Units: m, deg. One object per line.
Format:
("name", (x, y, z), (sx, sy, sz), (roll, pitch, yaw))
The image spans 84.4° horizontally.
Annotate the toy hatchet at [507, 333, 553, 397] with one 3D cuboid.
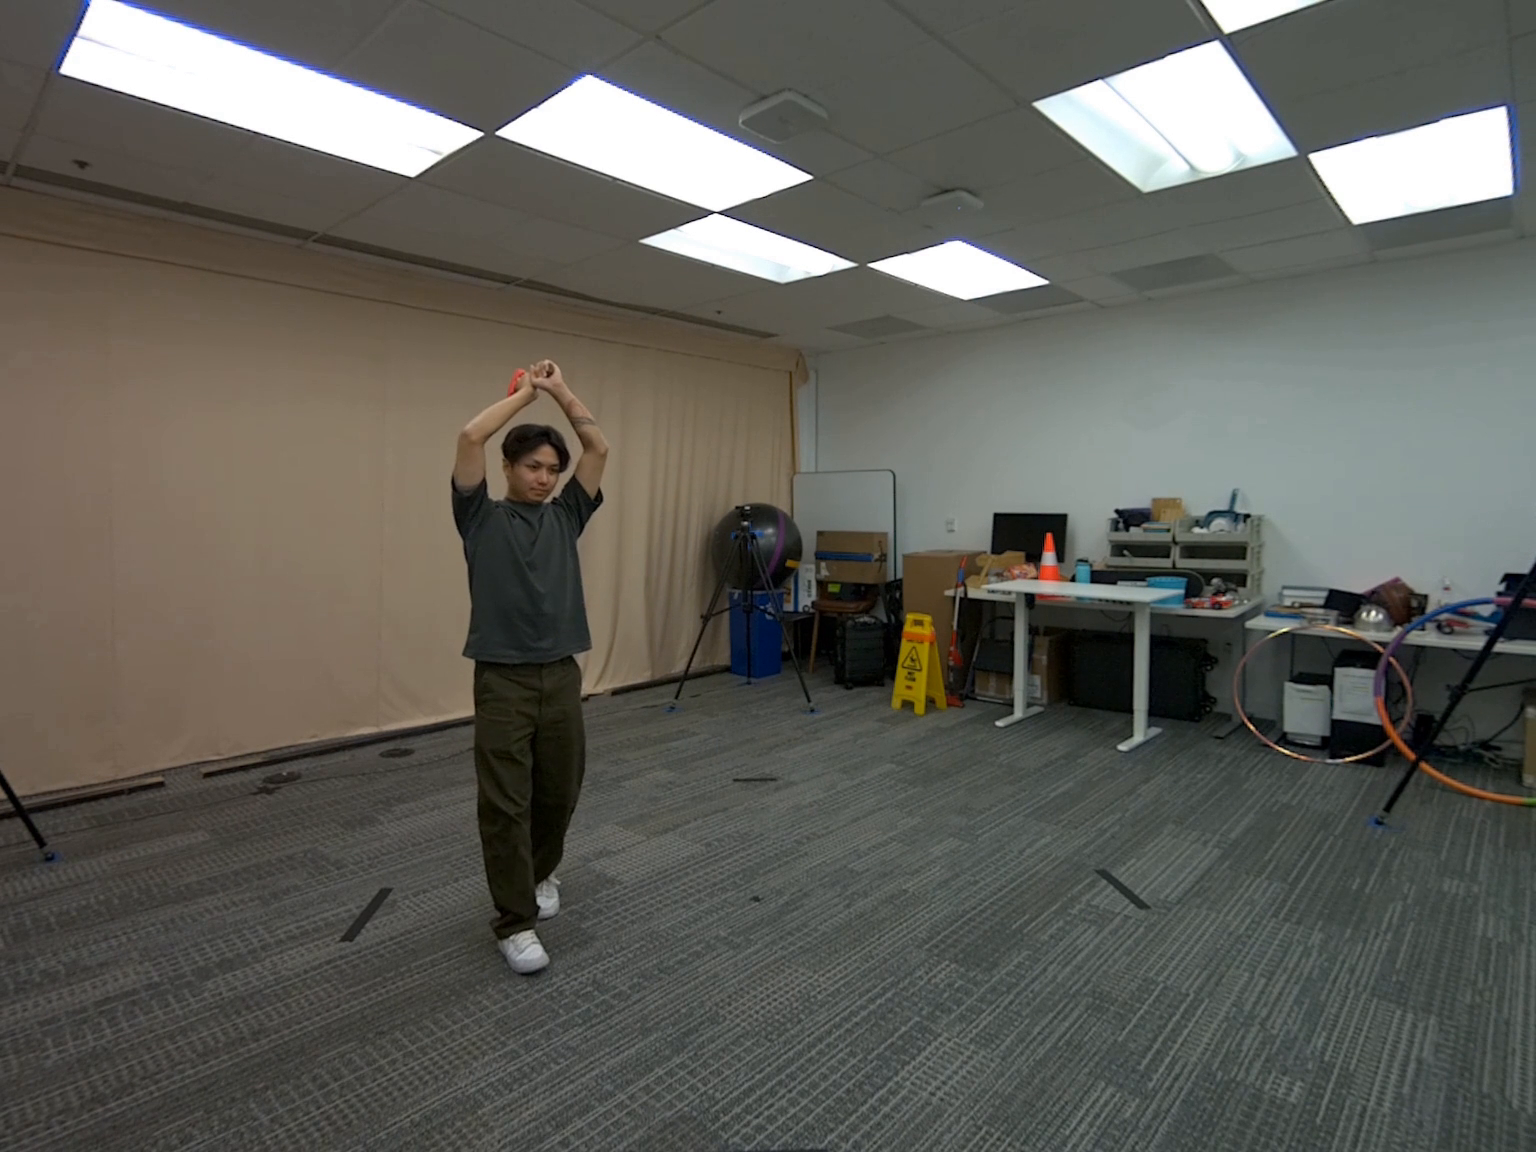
("toy hatchet", (-0.778, -0.659, 2.754), (0.028, 0.133, 0.275), (14, -28, -37))
